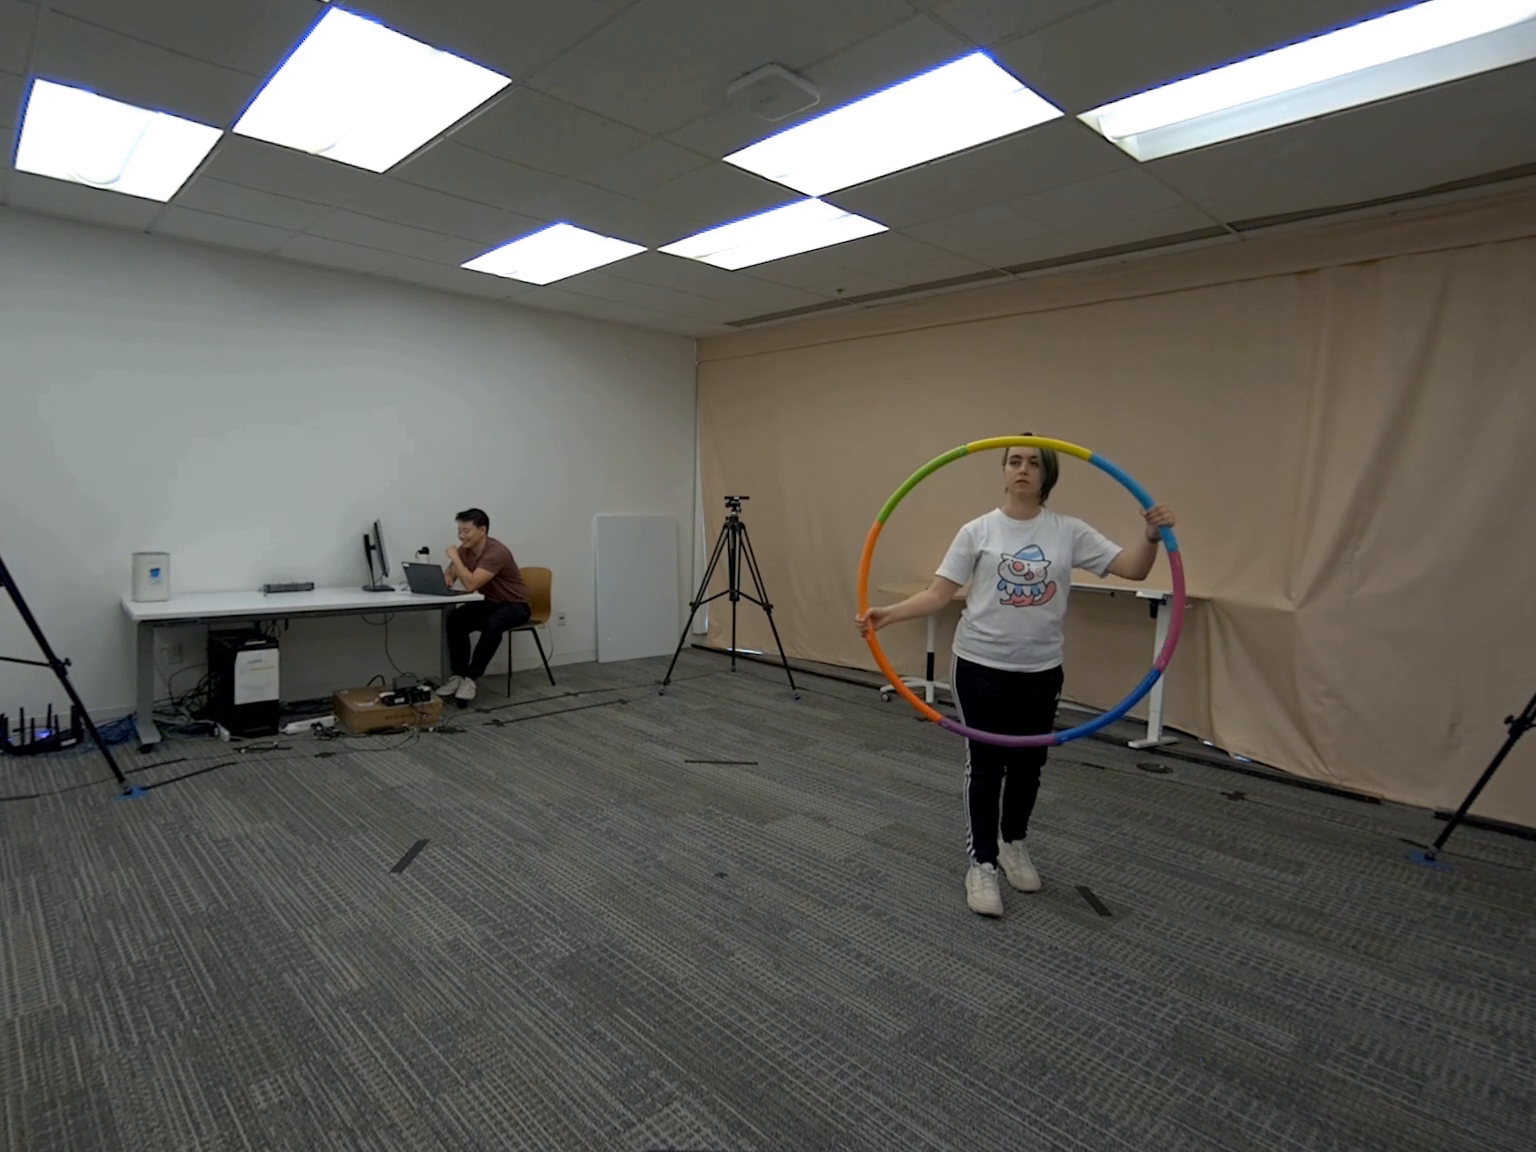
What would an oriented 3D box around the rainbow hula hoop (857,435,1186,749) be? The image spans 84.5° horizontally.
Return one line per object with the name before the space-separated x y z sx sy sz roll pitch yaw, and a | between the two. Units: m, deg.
rainbow hula hoop | 0.768 0.054 2.676 0.994 0.976 0.035 3 4 19
